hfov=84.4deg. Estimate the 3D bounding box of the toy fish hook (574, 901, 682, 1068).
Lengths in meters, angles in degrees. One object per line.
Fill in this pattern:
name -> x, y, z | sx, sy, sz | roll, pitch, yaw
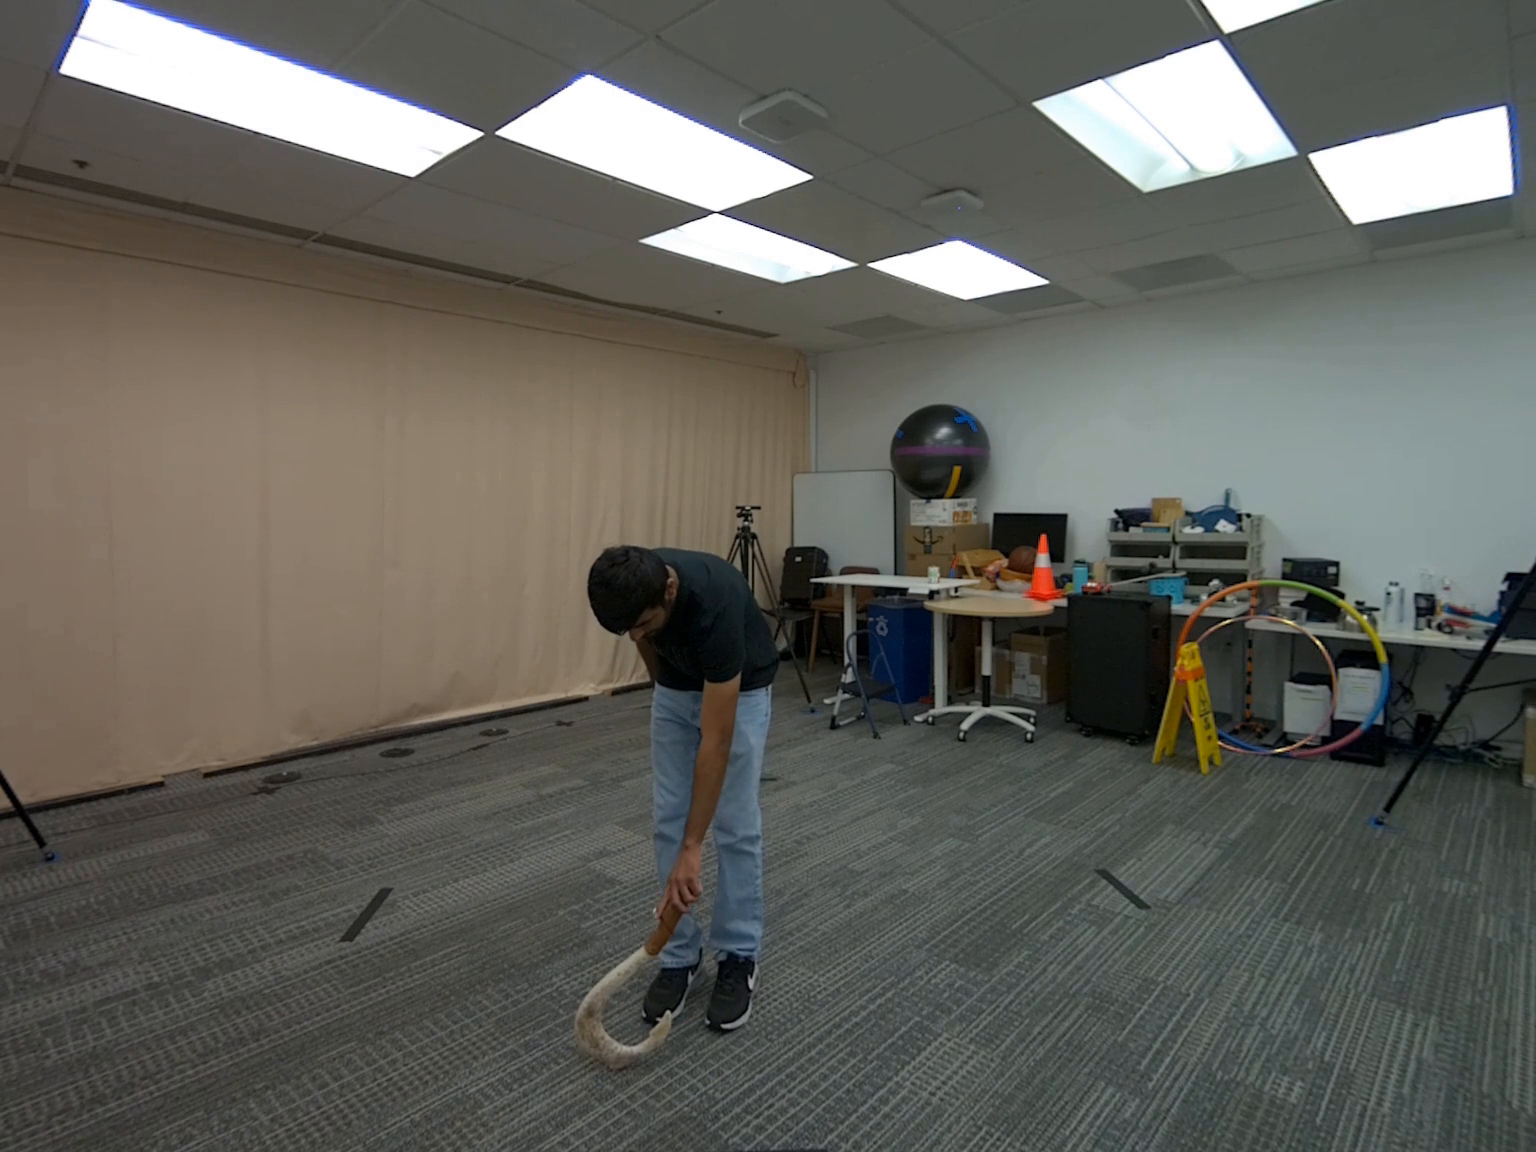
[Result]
toy fish hook -> -0.284, 0.988, 2.073 | 0.223, 0.507, 0.049 | 33, 3, -7
